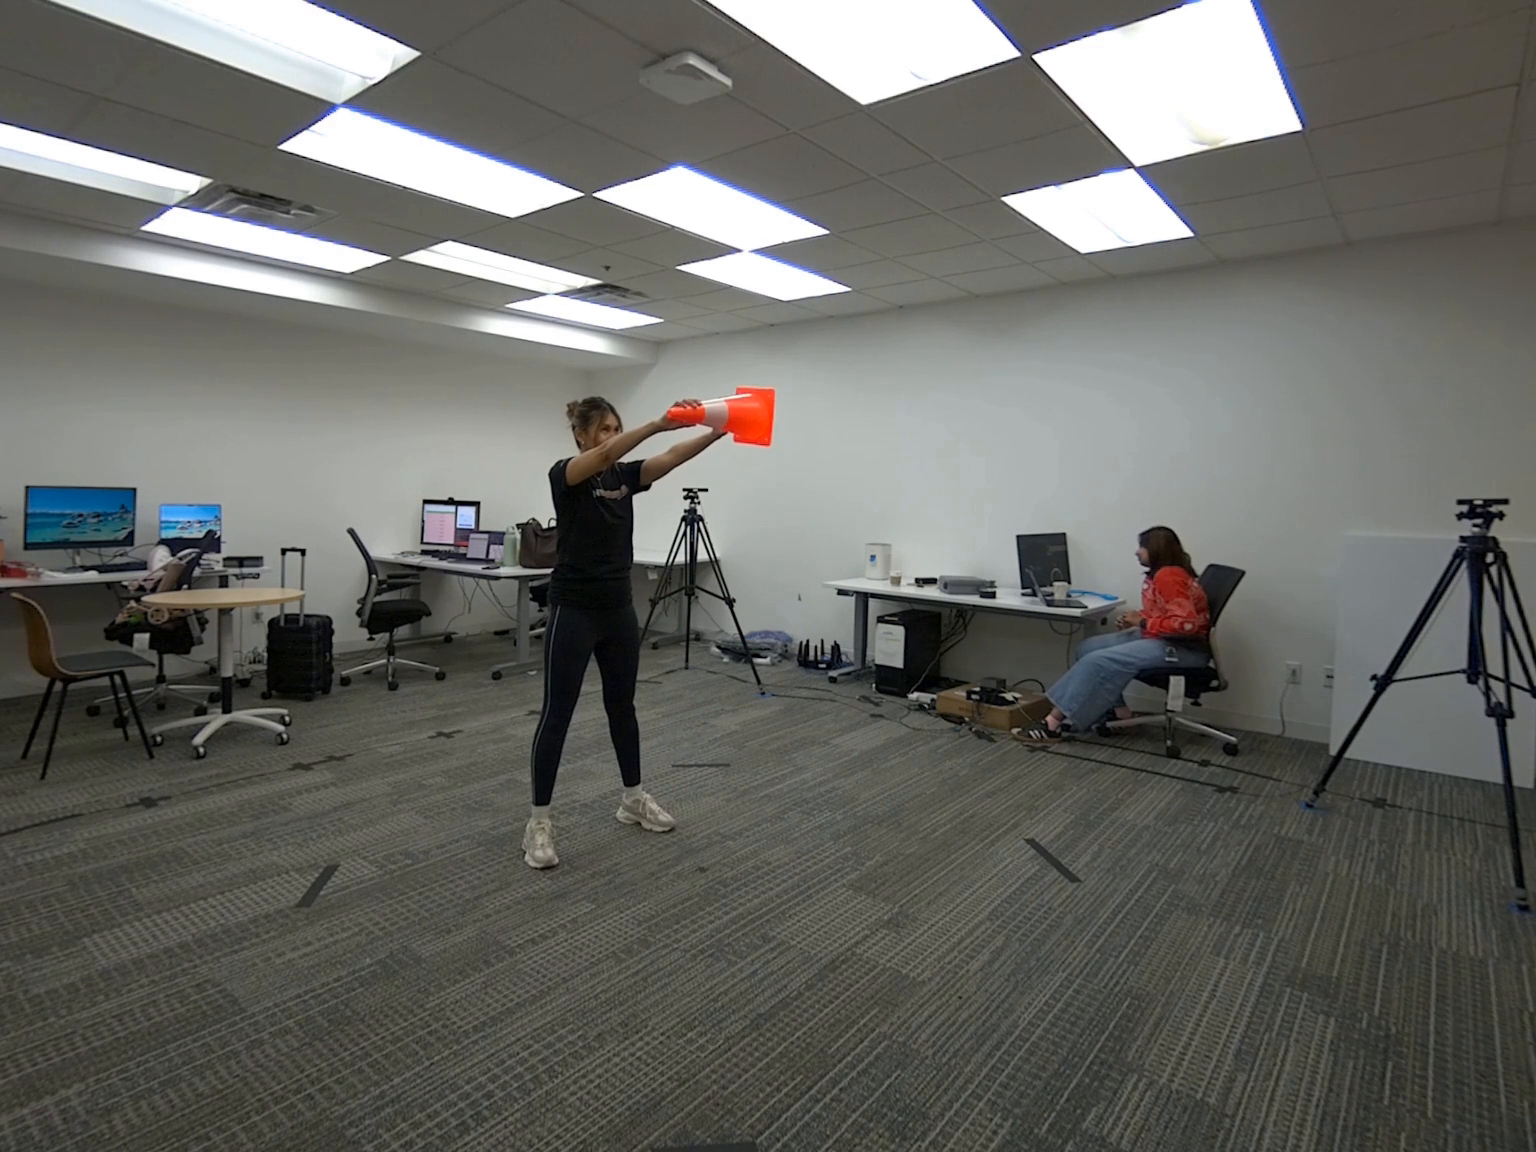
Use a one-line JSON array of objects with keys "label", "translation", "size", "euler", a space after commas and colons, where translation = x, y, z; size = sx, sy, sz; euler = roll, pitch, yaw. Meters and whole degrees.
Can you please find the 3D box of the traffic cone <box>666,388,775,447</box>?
[{"label": "traffic cone", "translation": [-0.196, -0.541, 2.851], "size": [0.373, 0.203, 0.211], "euler": [-8, 16, -42]}]
